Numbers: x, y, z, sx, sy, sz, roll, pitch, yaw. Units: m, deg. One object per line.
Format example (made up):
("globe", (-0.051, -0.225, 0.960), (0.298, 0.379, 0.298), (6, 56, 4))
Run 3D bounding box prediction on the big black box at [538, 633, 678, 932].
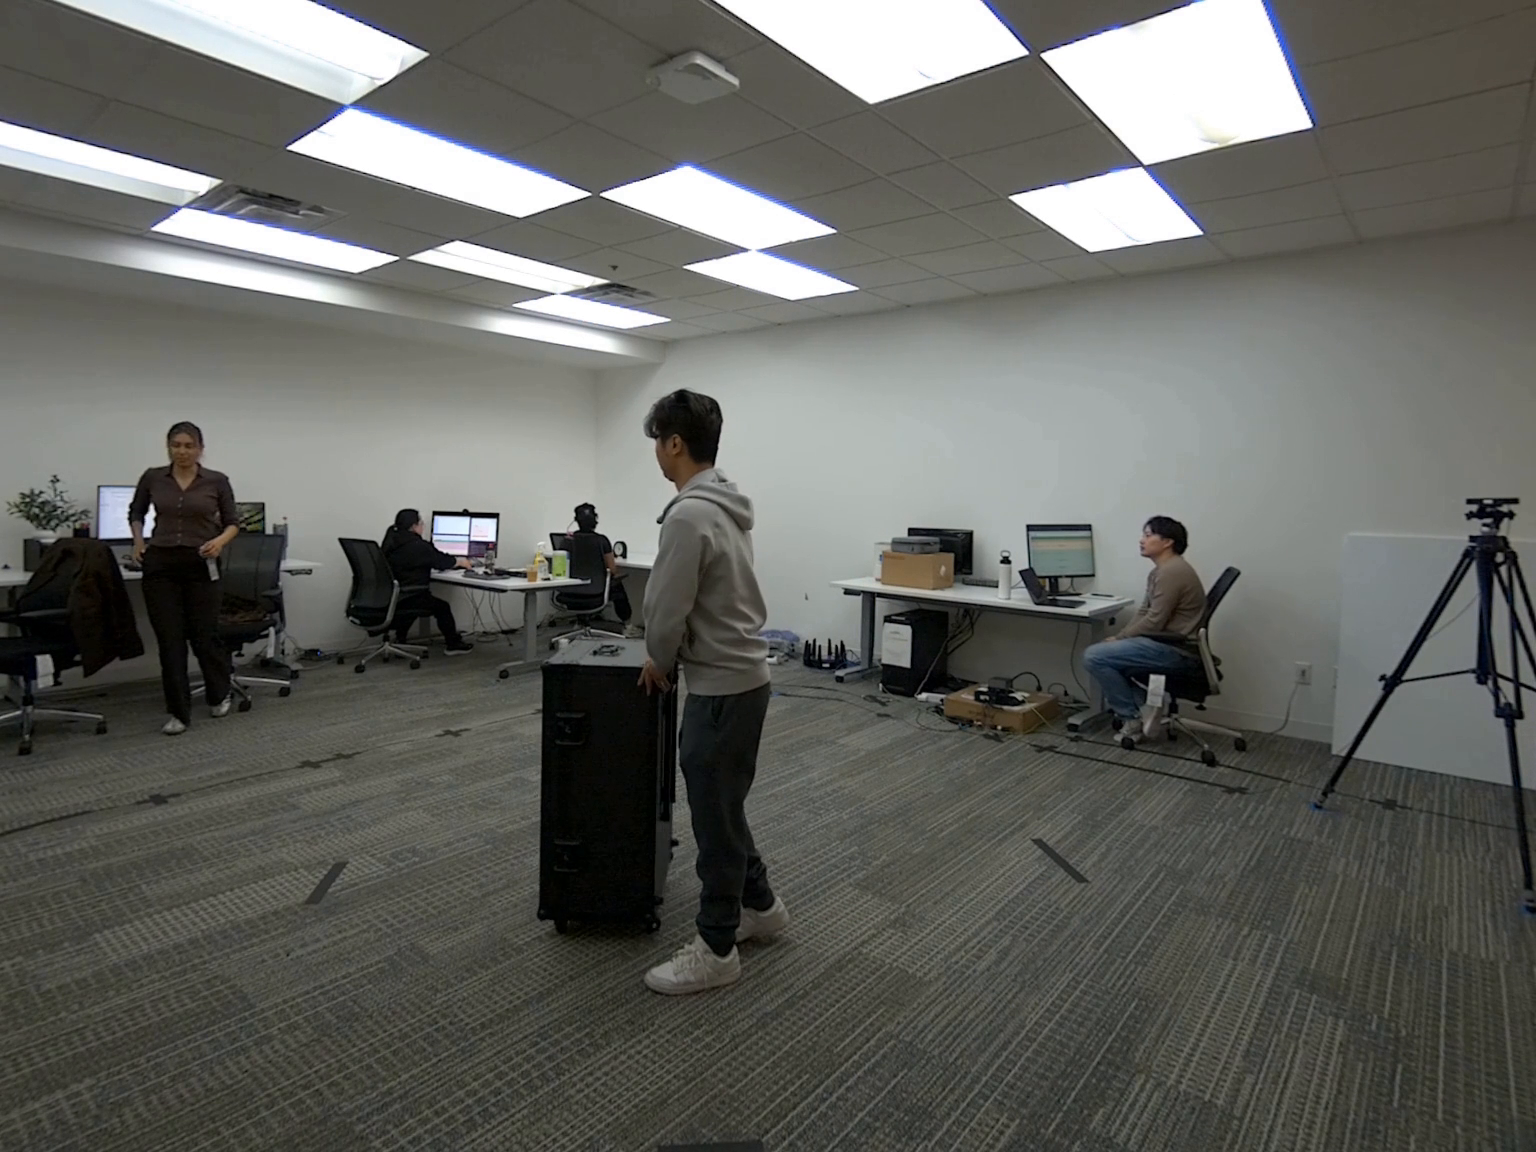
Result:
("big black box", (-0.515, 0.666, 2.790), (0.398, 0.859, 0.521), (2, 3, 2))
